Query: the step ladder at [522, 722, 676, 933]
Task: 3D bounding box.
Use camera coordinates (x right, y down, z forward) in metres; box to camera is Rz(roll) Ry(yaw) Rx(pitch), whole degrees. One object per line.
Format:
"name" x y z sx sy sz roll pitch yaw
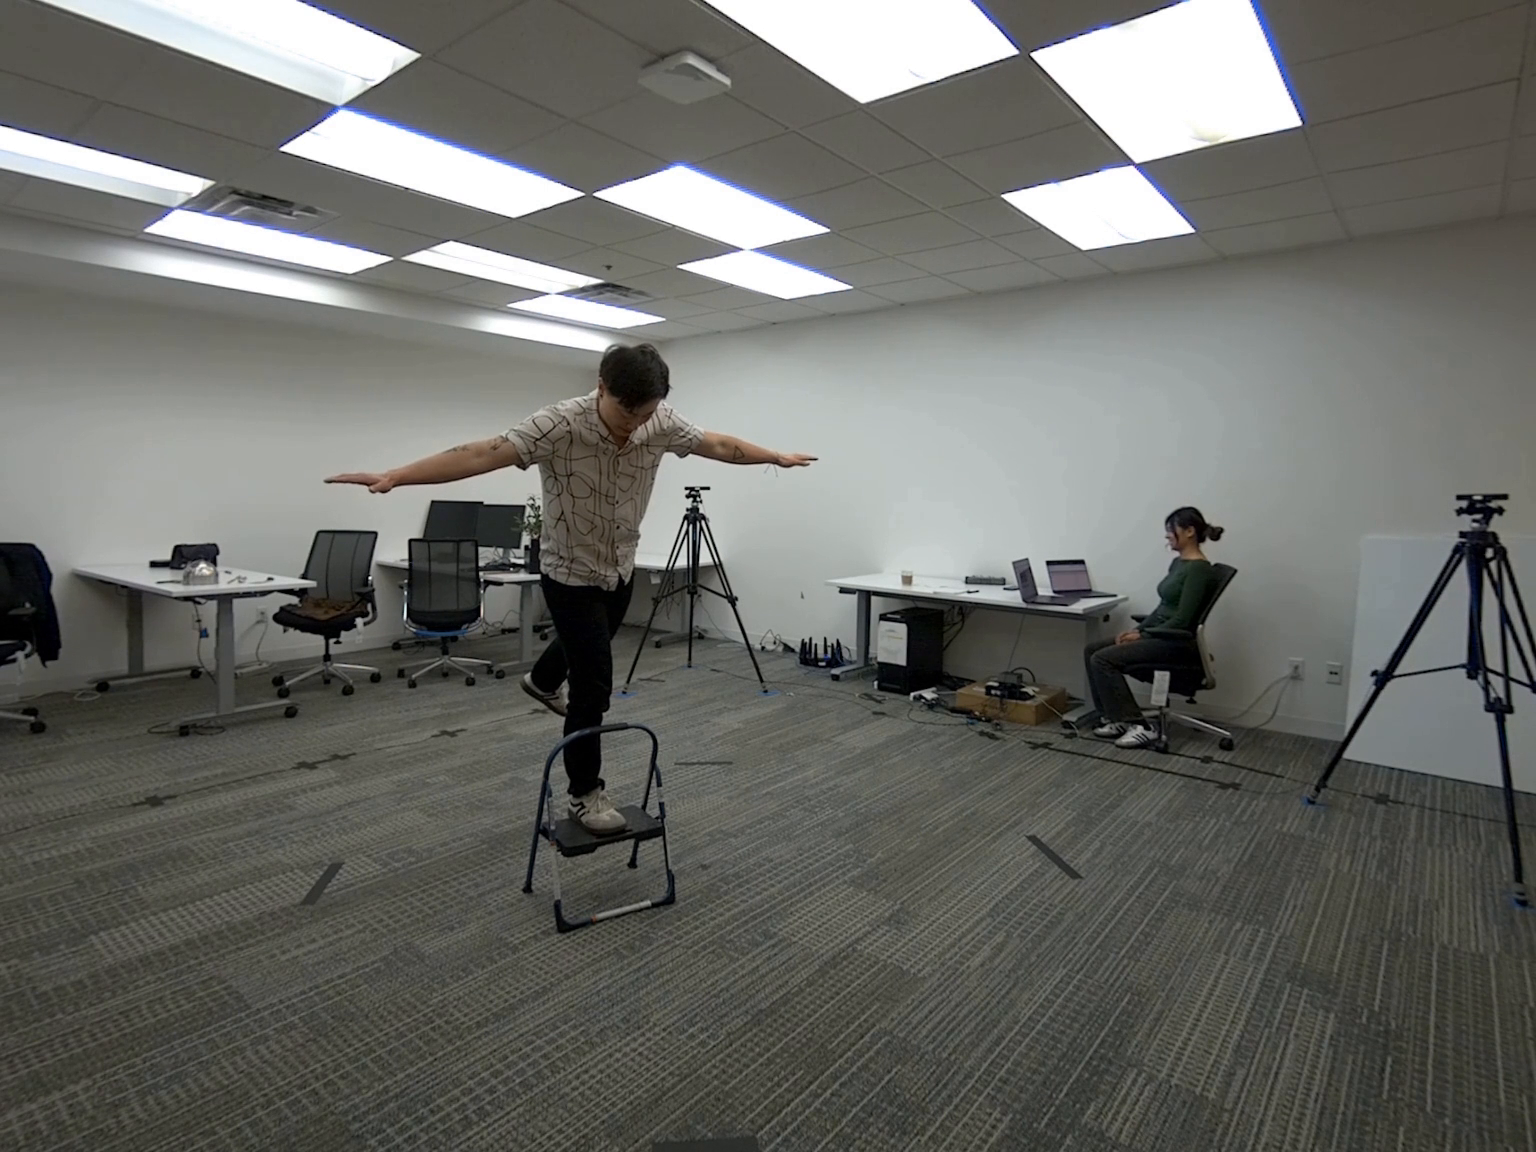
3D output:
"step ladder" -0.580 0.780 2.870 0.418 0.604 0.360 -2 4 -34
